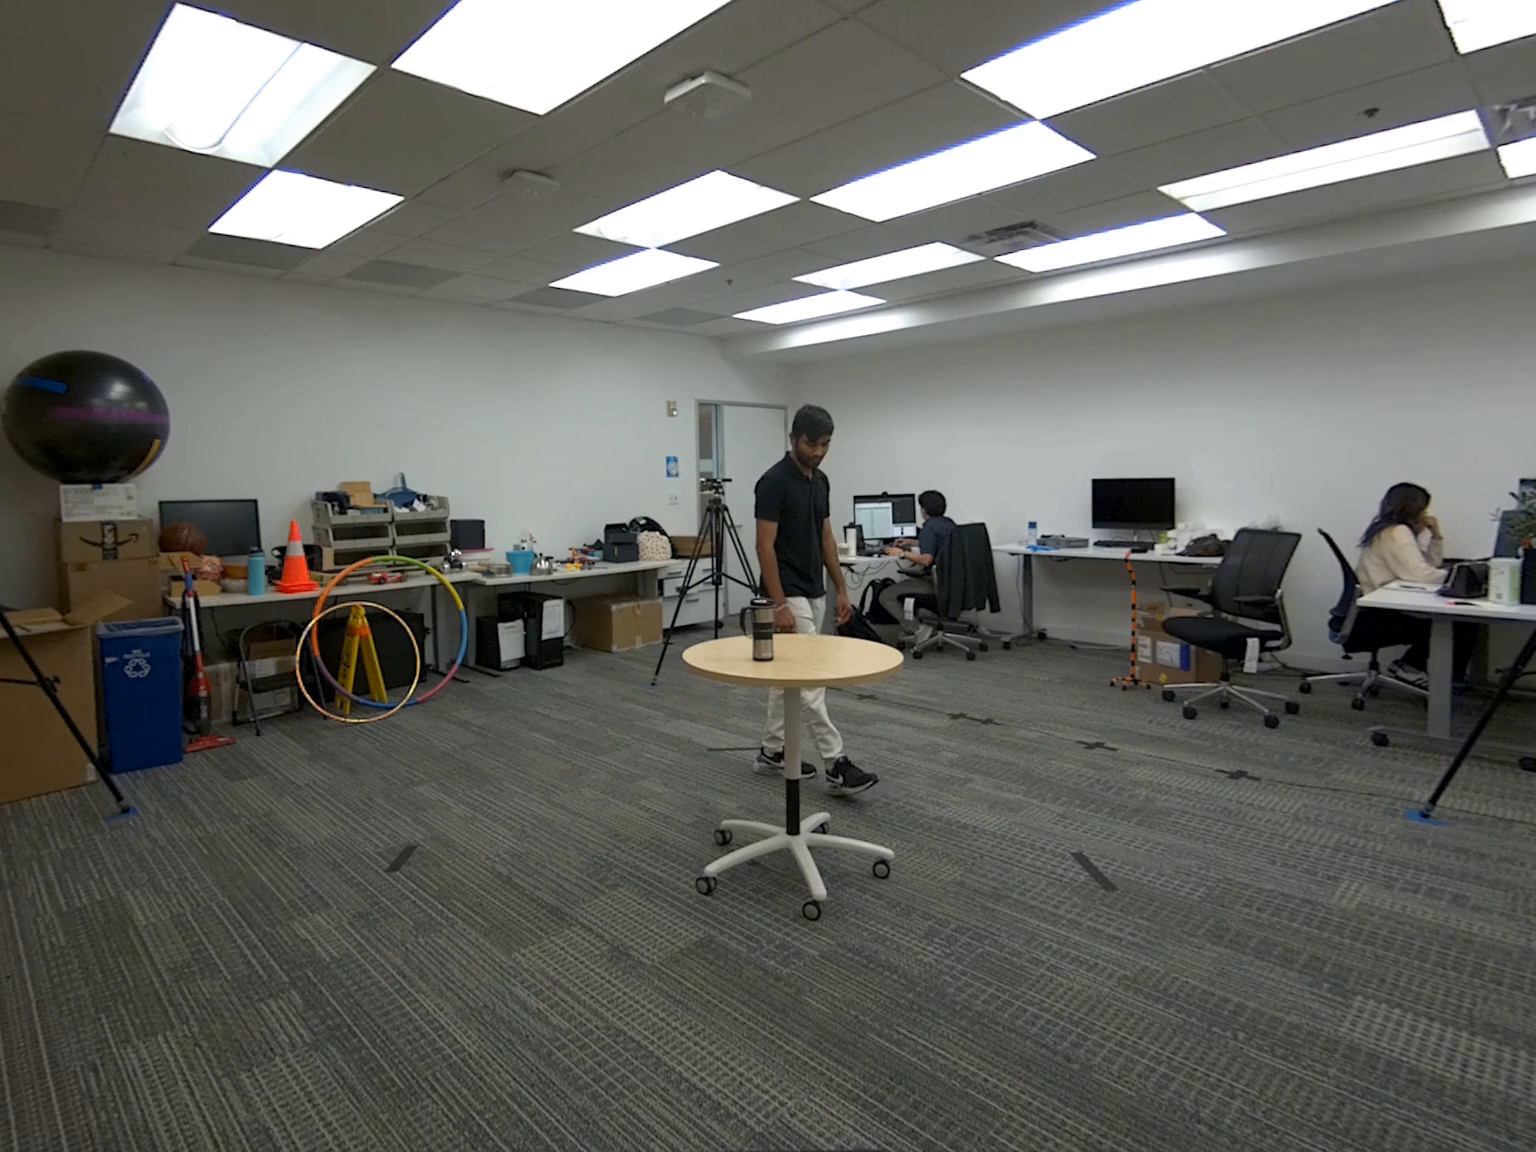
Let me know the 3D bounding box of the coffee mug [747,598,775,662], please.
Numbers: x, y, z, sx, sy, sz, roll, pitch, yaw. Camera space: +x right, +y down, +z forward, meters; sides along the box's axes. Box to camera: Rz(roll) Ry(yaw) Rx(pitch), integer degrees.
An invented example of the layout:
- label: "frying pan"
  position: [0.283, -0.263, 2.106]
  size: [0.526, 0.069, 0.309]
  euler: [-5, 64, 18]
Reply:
- label: "coffee mug"
  position: [-0.003, 0.188, 2.891]
  size: [0.119, 0.202, 0.090]
  euler: [-6, 3, -33]
